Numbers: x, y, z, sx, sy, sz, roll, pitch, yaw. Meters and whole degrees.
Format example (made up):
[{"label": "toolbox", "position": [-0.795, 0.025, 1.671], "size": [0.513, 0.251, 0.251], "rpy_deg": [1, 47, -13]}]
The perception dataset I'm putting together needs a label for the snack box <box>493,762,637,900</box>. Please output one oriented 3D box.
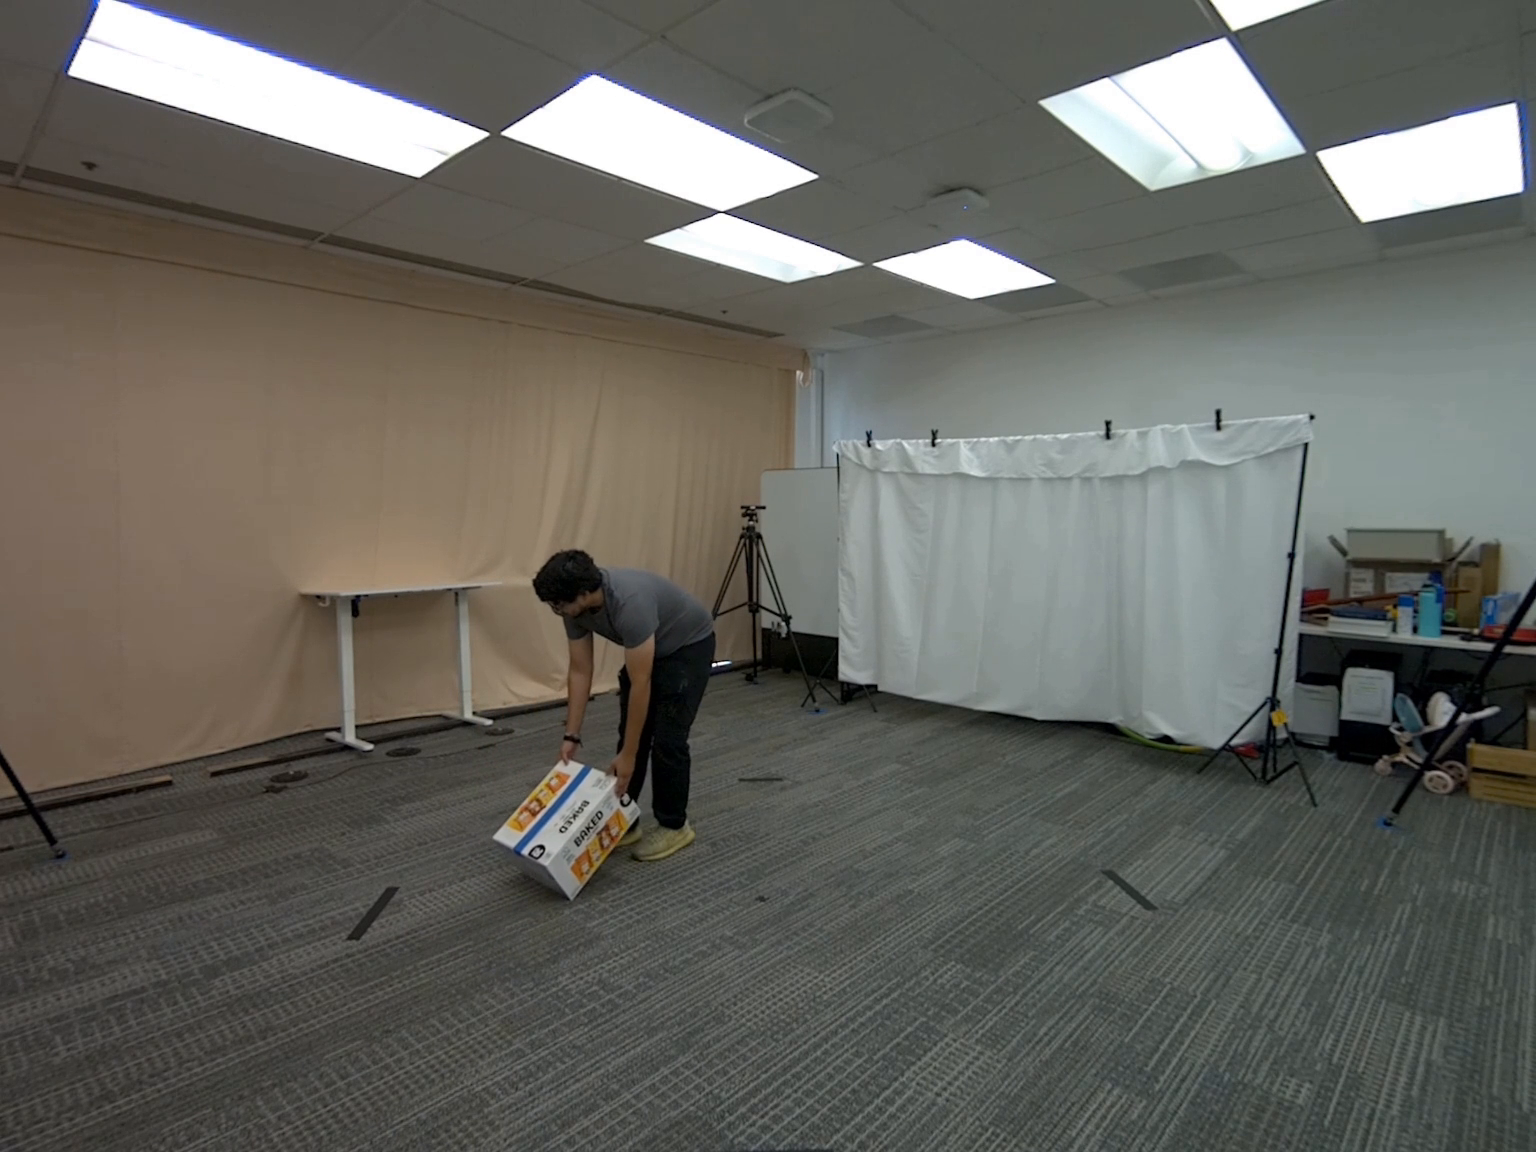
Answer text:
[{"label": "snack box", "position": [-0.755, 0.939, 3.162], "size": [0.352, 0.200, 0.402], "rpy_deg": [4, 42, 41]}]
